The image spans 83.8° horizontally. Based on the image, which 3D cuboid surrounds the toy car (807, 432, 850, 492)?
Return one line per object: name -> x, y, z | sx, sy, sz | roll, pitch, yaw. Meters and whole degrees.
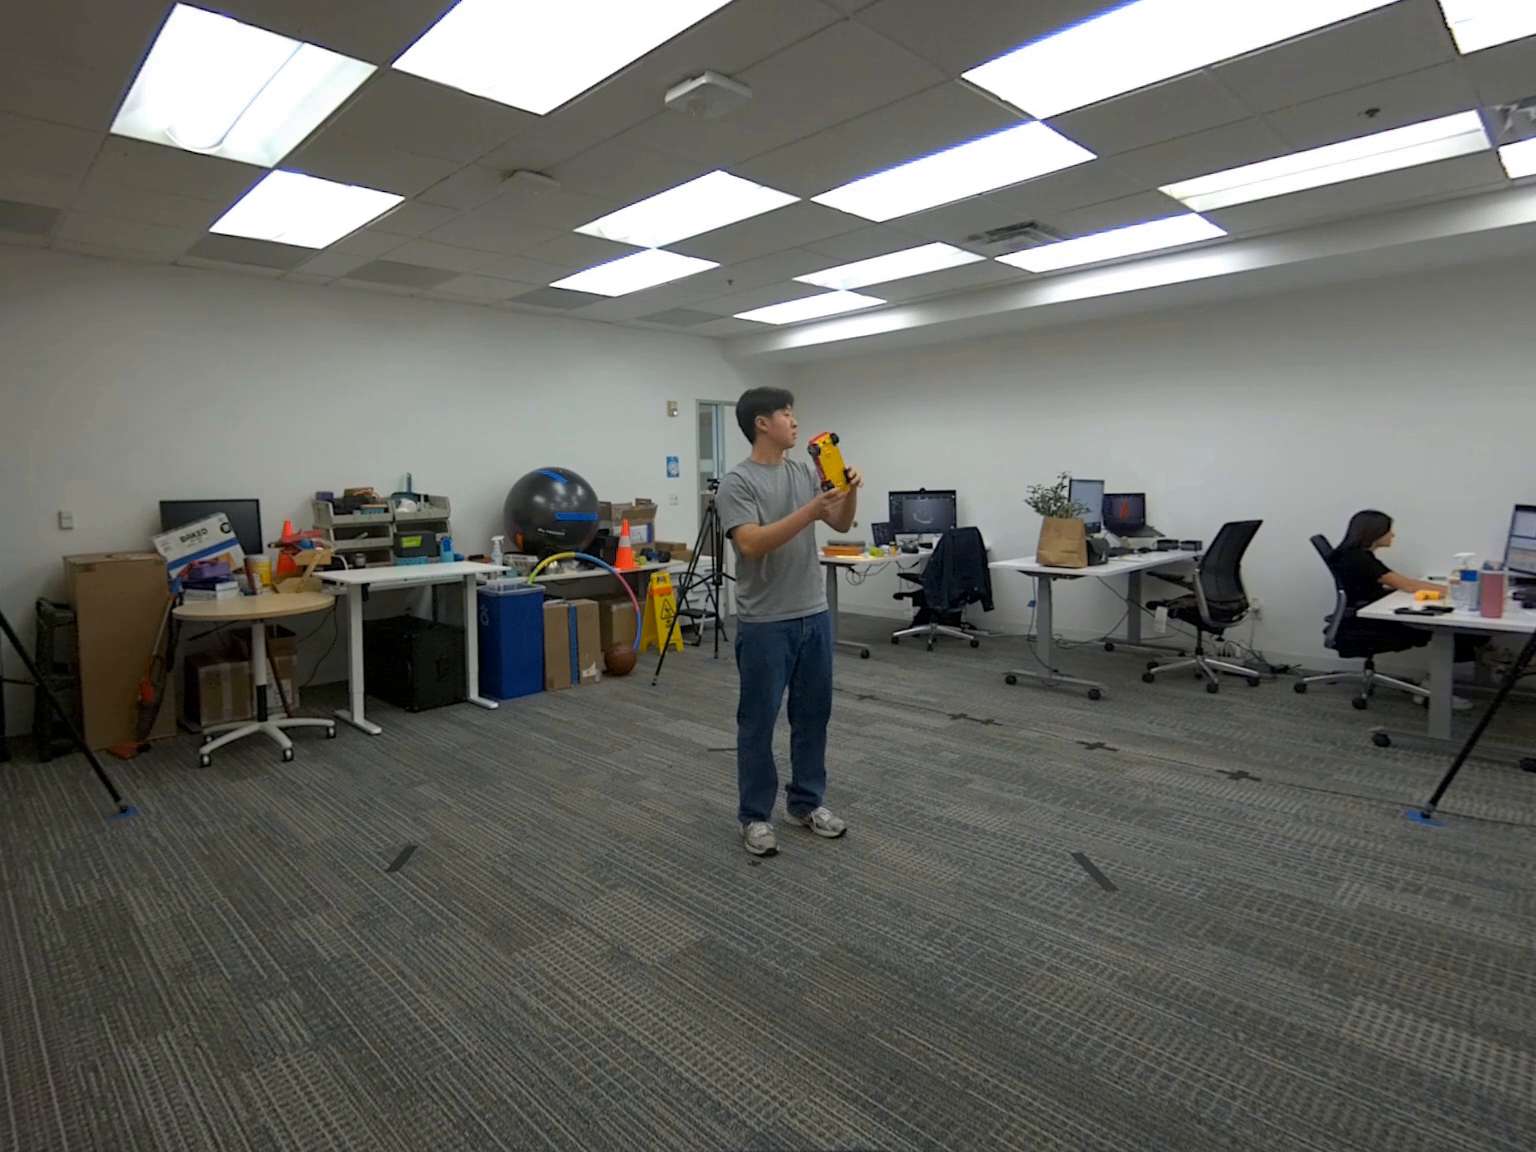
toy car -> 0.216, -0.377, 3.002 | 0.129, 0.247, 0.086 | -30, 30, -24
